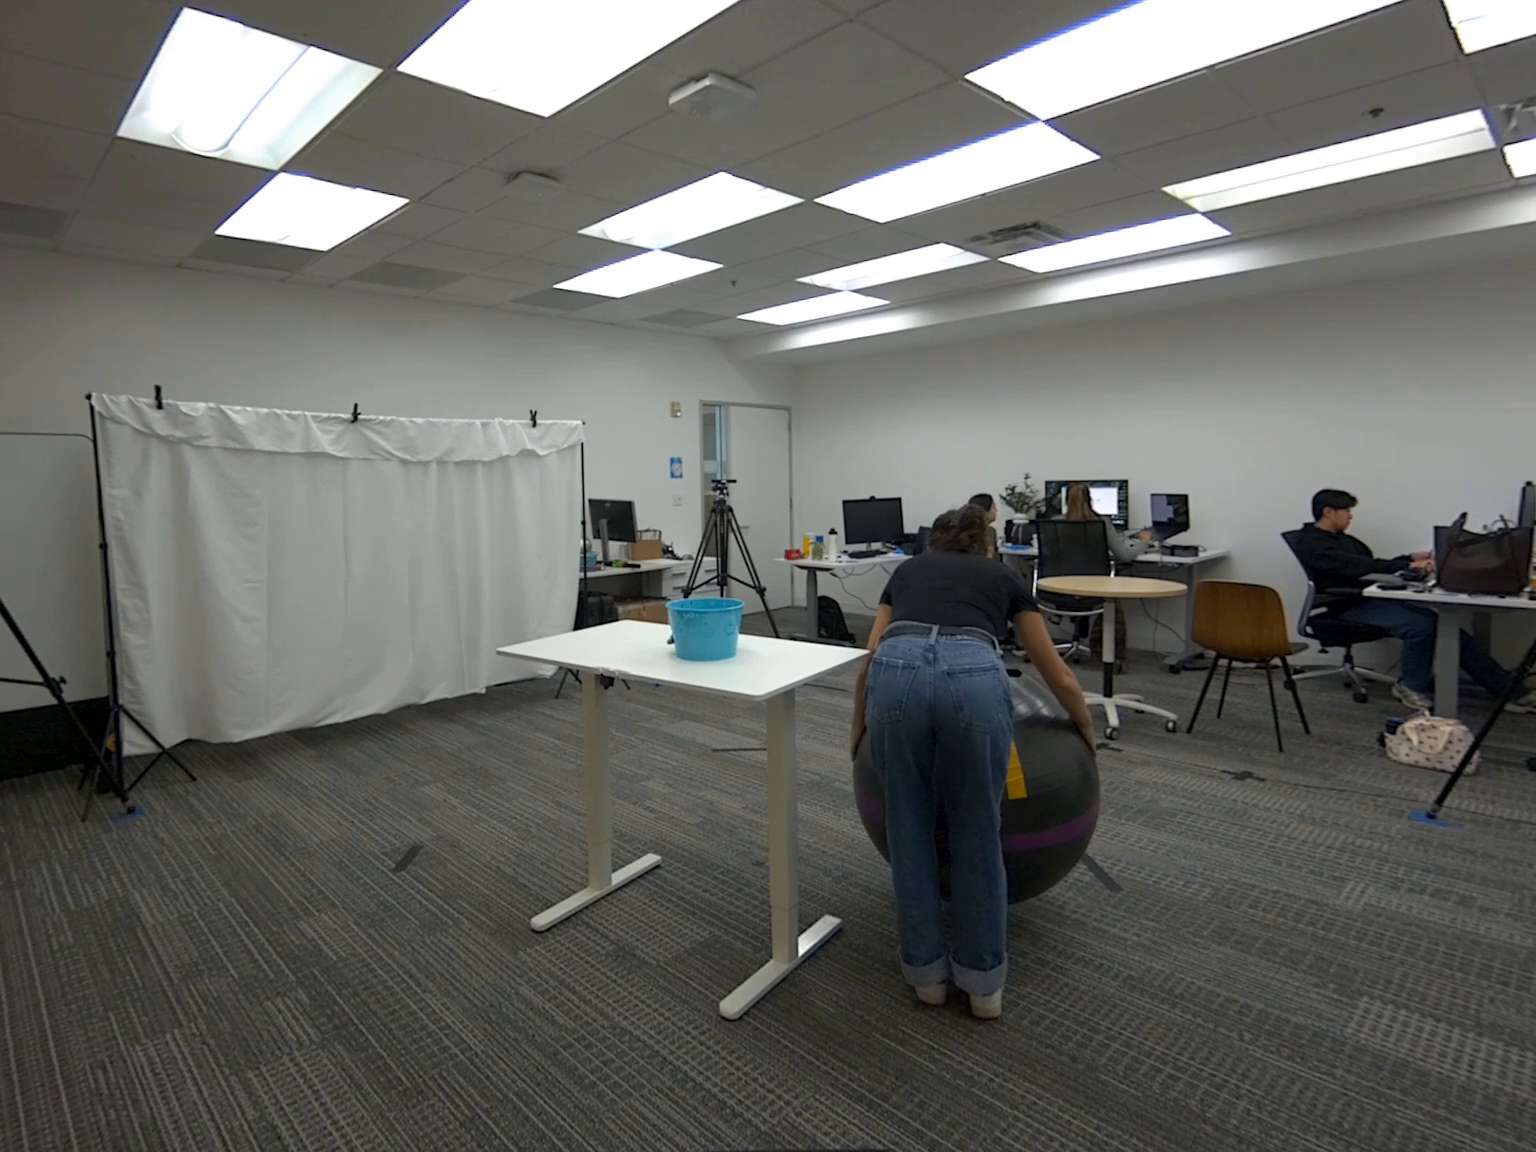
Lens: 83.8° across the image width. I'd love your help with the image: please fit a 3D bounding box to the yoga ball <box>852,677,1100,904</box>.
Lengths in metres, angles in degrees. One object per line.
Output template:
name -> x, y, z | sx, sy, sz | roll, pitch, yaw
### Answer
yoga ball -> 0.667, 0.657, 2.718 | 0.757, 0.755, 0.762 | -1, 5, -2
